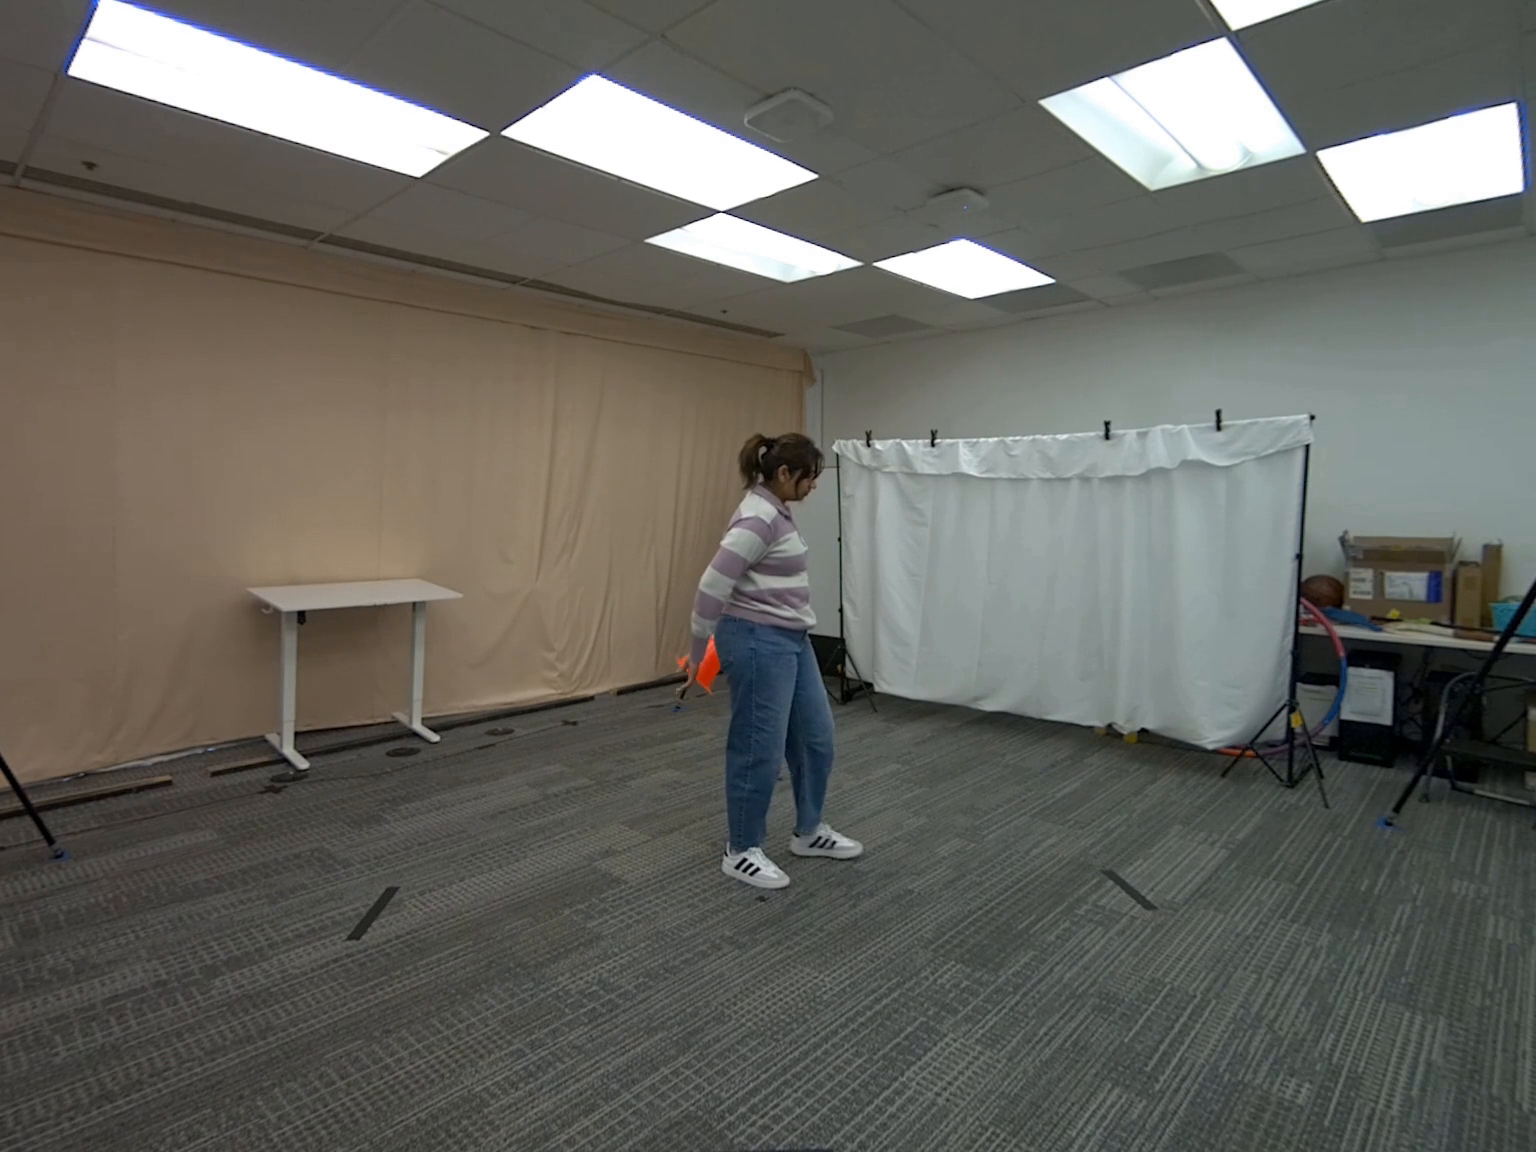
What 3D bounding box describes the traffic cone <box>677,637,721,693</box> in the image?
[{"bbox_3d":[-0.183,0.269,3.502,0.203,0.383,0.205,42,-4,-8],"label":"traffic cone"}]
